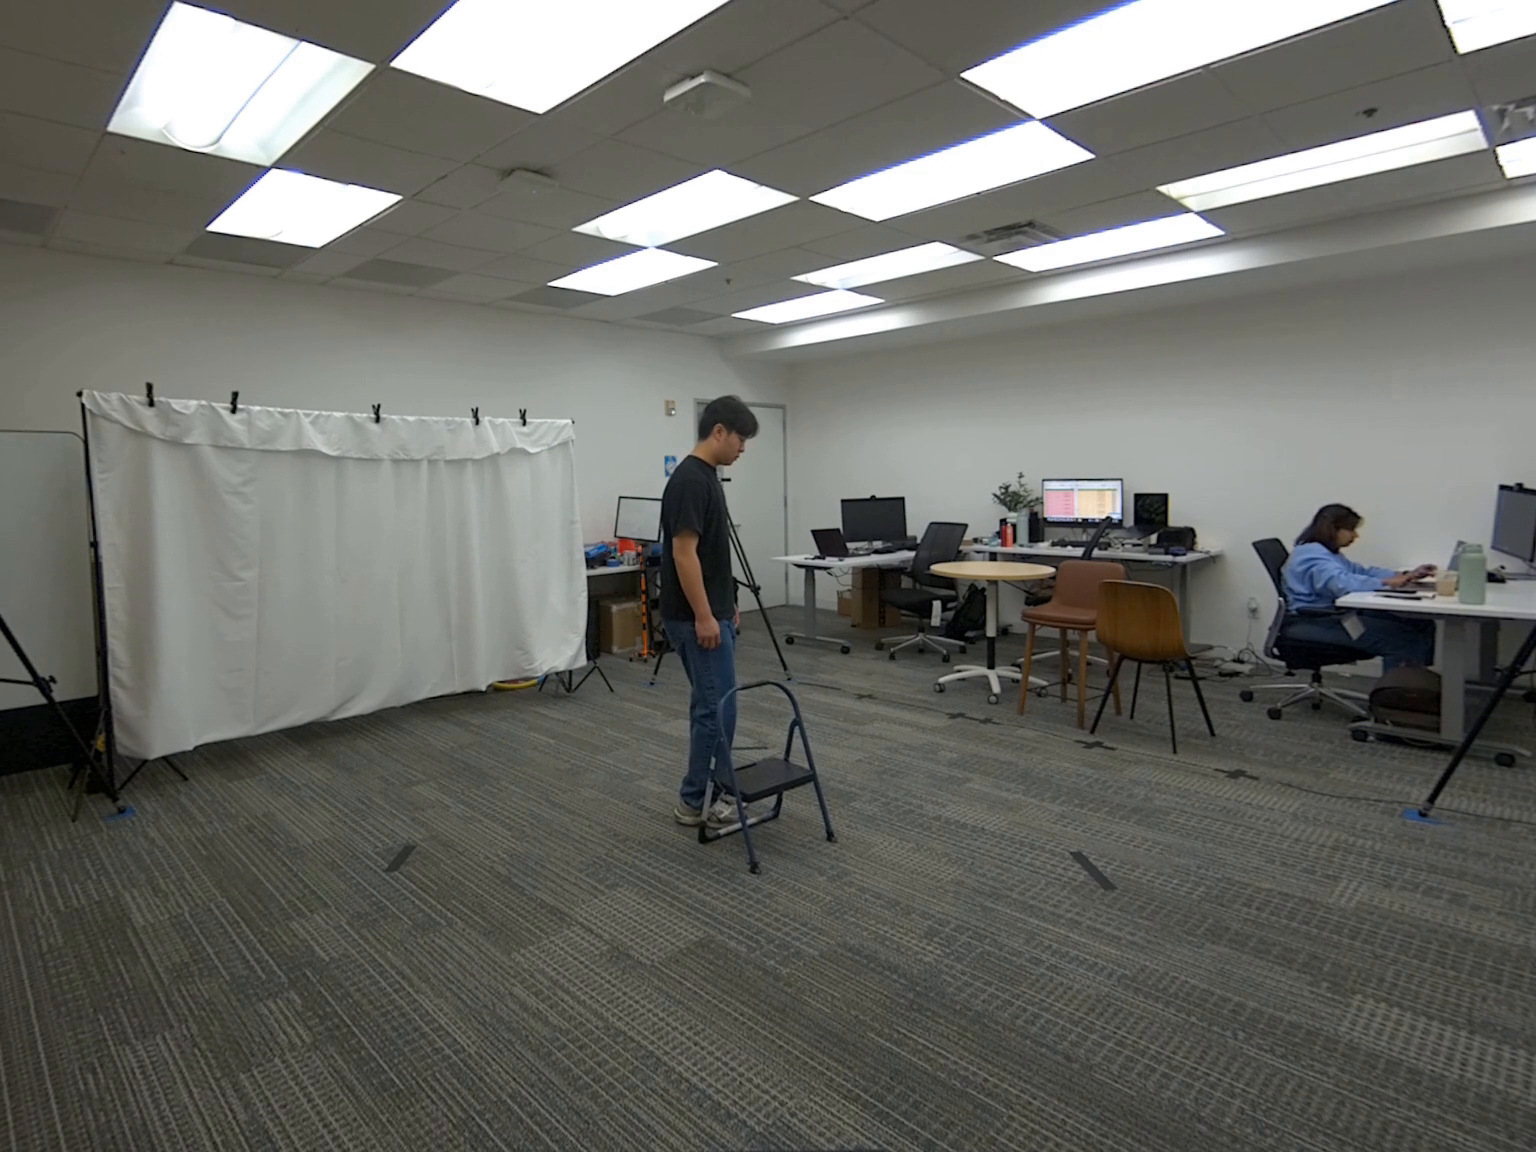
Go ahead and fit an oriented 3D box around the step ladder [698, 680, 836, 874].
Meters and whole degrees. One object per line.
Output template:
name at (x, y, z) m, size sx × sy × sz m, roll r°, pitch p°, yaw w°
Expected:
step ladder at (-0.004, 0.718, 3.261) m, size 0.419 × 0.604 × 0.360 m, roll -4°, pitch 6°, yaw -41°
